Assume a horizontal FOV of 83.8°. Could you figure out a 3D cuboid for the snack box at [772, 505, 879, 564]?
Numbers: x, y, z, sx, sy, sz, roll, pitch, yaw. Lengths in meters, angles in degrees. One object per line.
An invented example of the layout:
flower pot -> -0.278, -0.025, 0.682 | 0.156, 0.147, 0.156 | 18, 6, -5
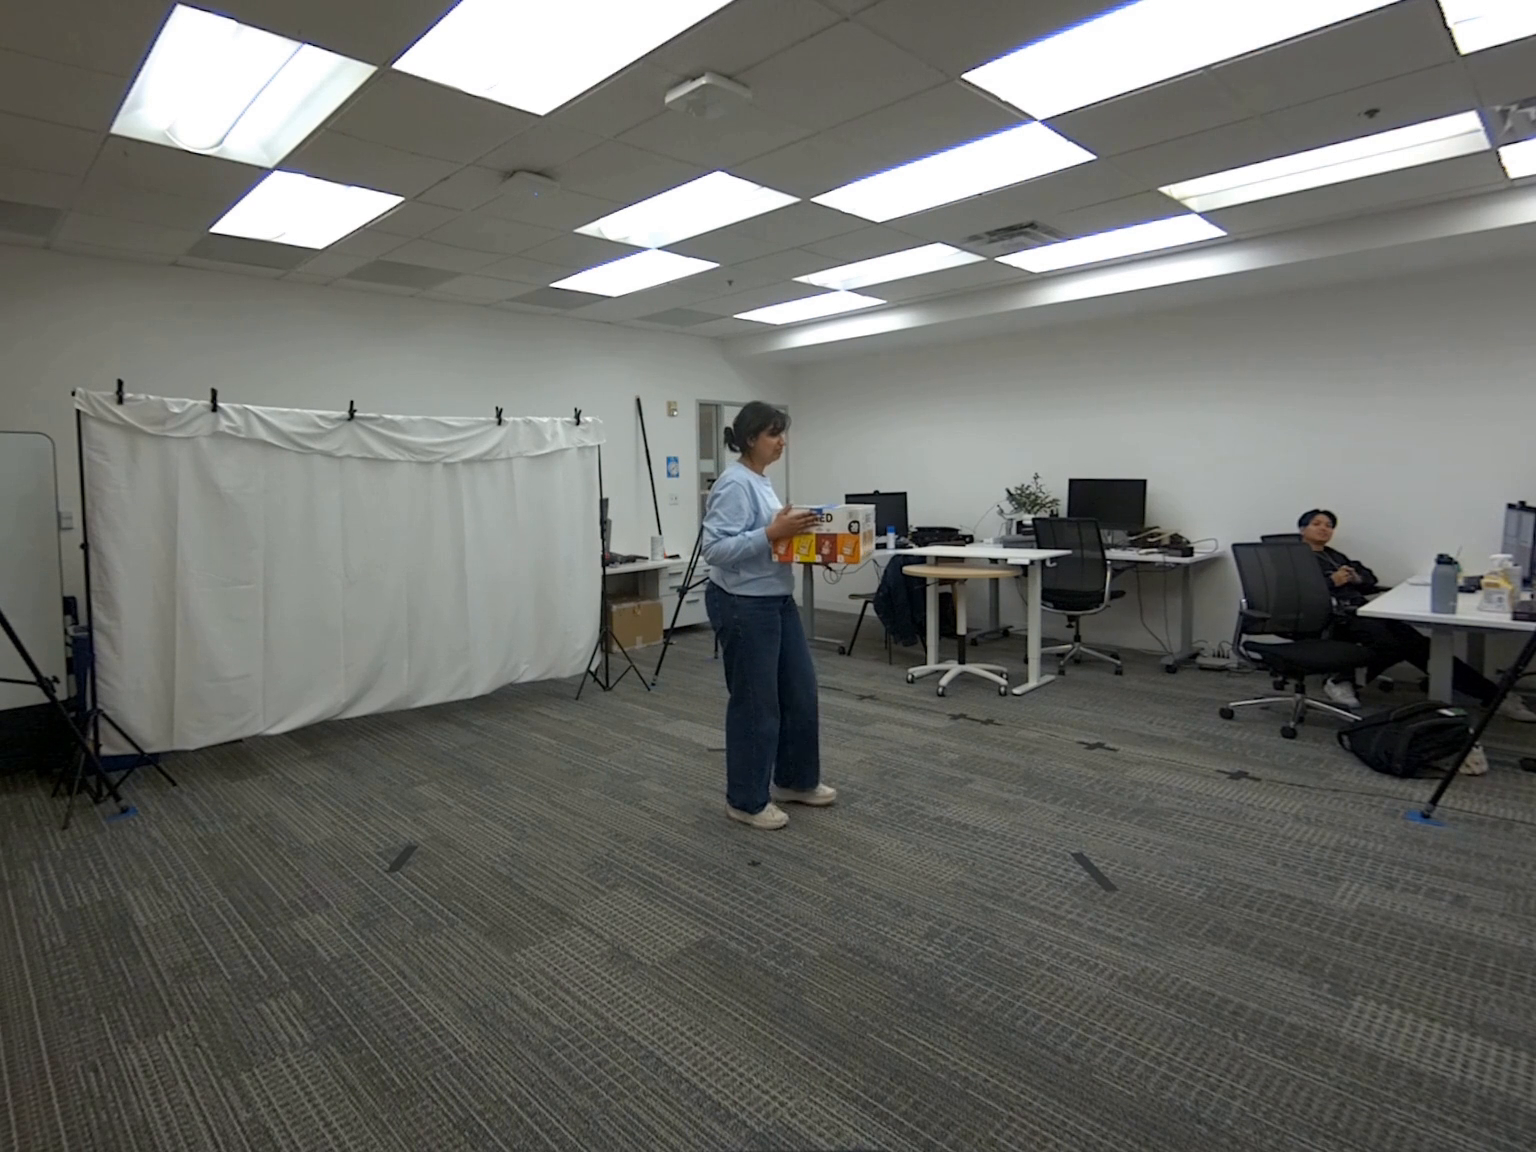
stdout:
snack box -> 0.232, -0.174, 3.375 | 0.346, 0.205, 0.400 | 1, 6, 17
